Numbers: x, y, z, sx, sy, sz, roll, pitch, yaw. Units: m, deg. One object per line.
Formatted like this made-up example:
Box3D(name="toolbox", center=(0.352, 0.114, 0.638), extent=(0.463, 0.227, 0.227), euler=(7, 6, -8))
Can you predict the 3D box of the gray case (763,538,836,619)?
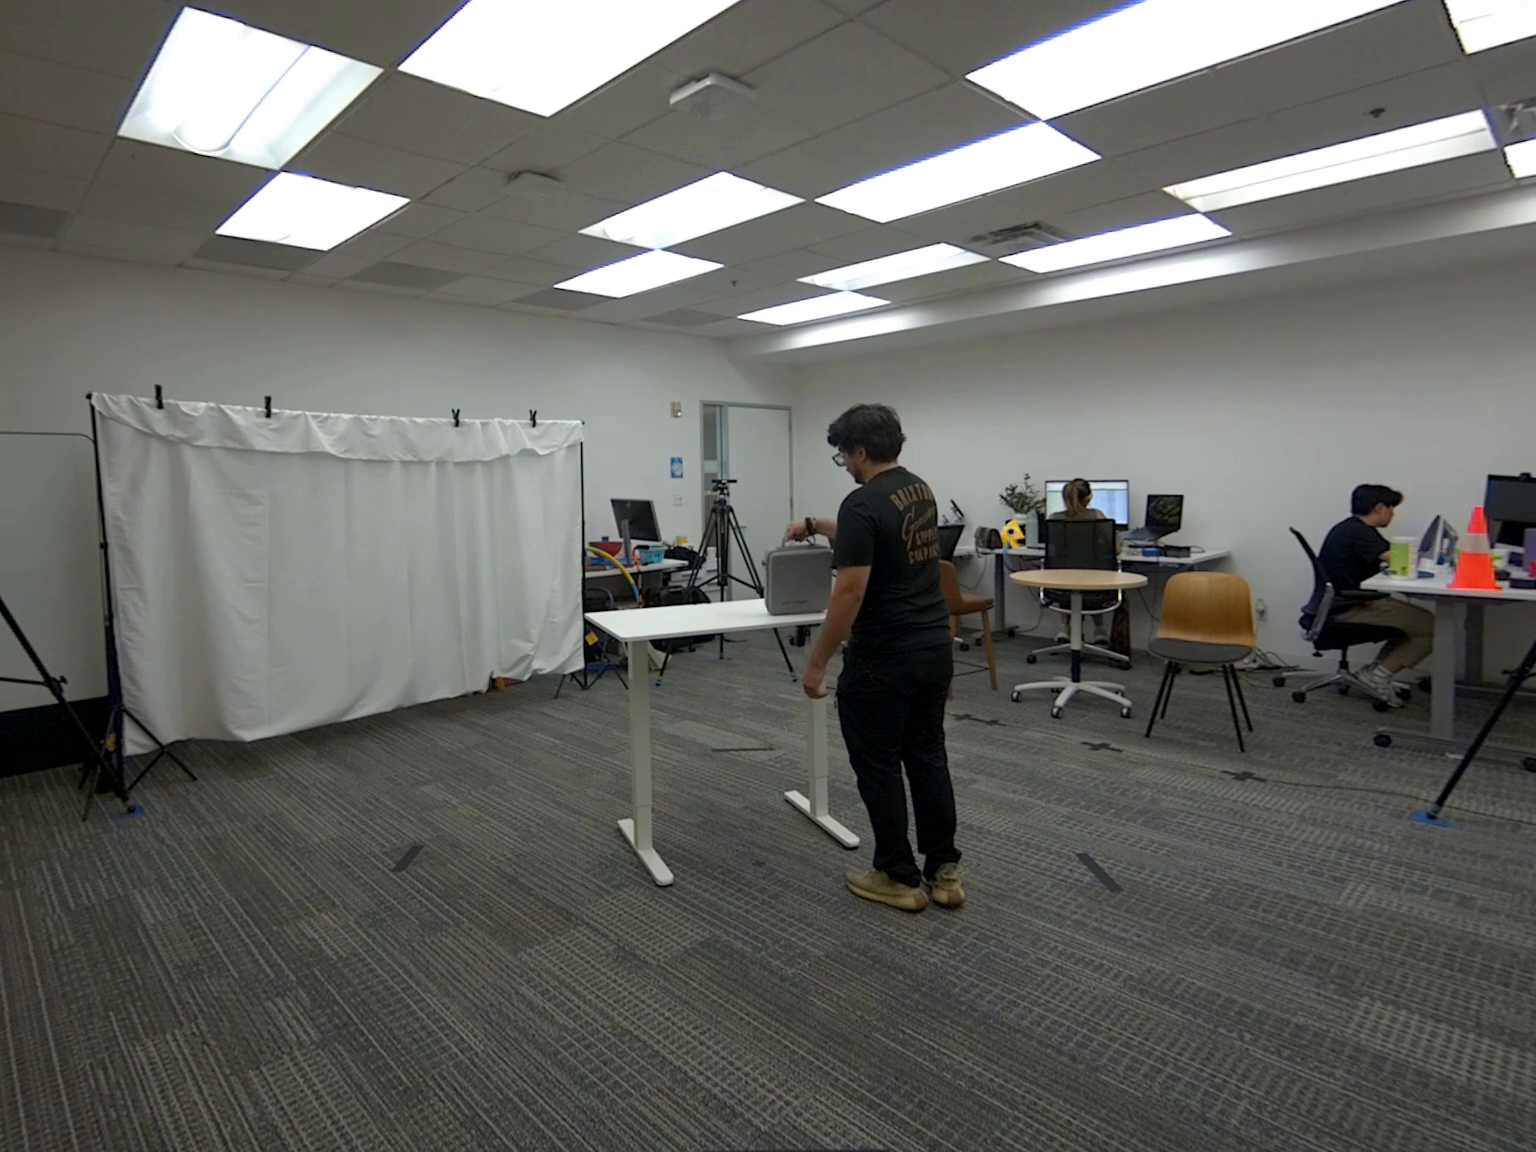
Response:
Box3D(name="gray case", center=(0.119, 0.006, 3.231), extent=(0.254, 0.257, 0.107), euler=(-4, 15, -13))
